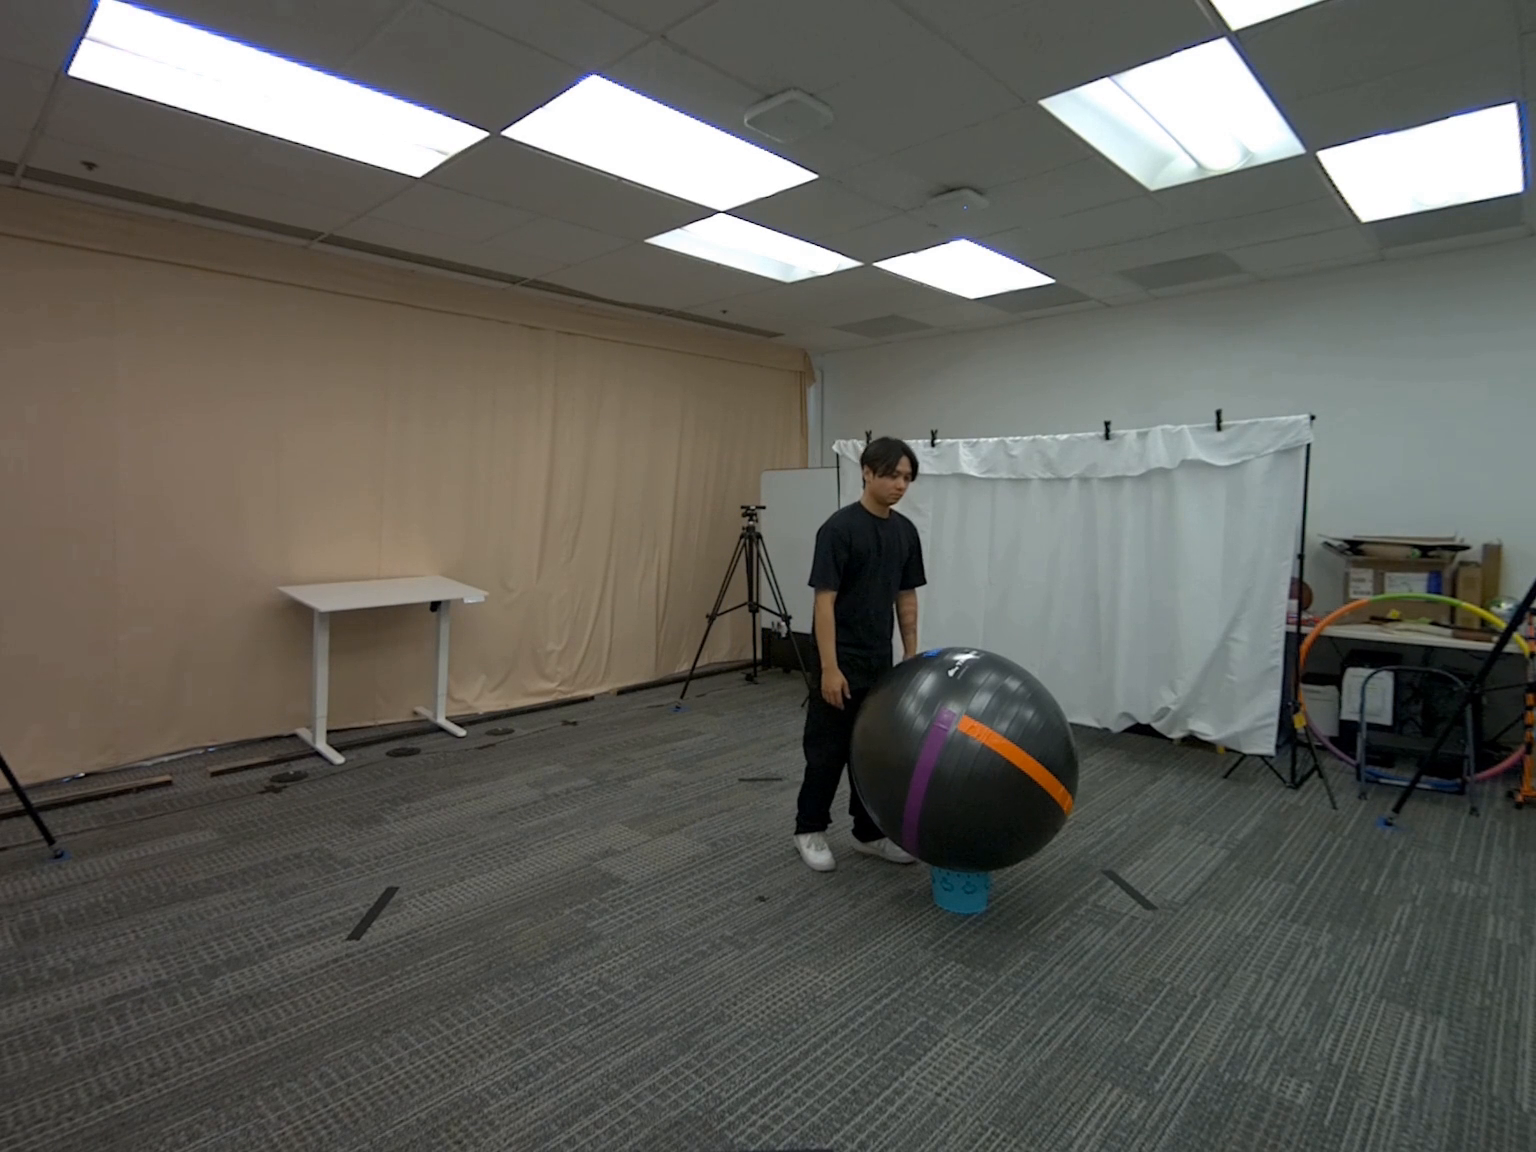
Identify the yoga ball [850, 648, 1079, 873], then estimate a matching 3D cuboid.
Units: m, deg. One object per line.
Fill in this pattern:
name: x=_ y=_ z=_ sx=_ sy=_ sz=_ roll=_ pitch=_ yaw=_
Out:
yoga ball: x=0.685 y=0.636 z=2.927 sx=0.757 sy=0.756 sz=0.760 roll=0 pitch=4 yaw=-2
